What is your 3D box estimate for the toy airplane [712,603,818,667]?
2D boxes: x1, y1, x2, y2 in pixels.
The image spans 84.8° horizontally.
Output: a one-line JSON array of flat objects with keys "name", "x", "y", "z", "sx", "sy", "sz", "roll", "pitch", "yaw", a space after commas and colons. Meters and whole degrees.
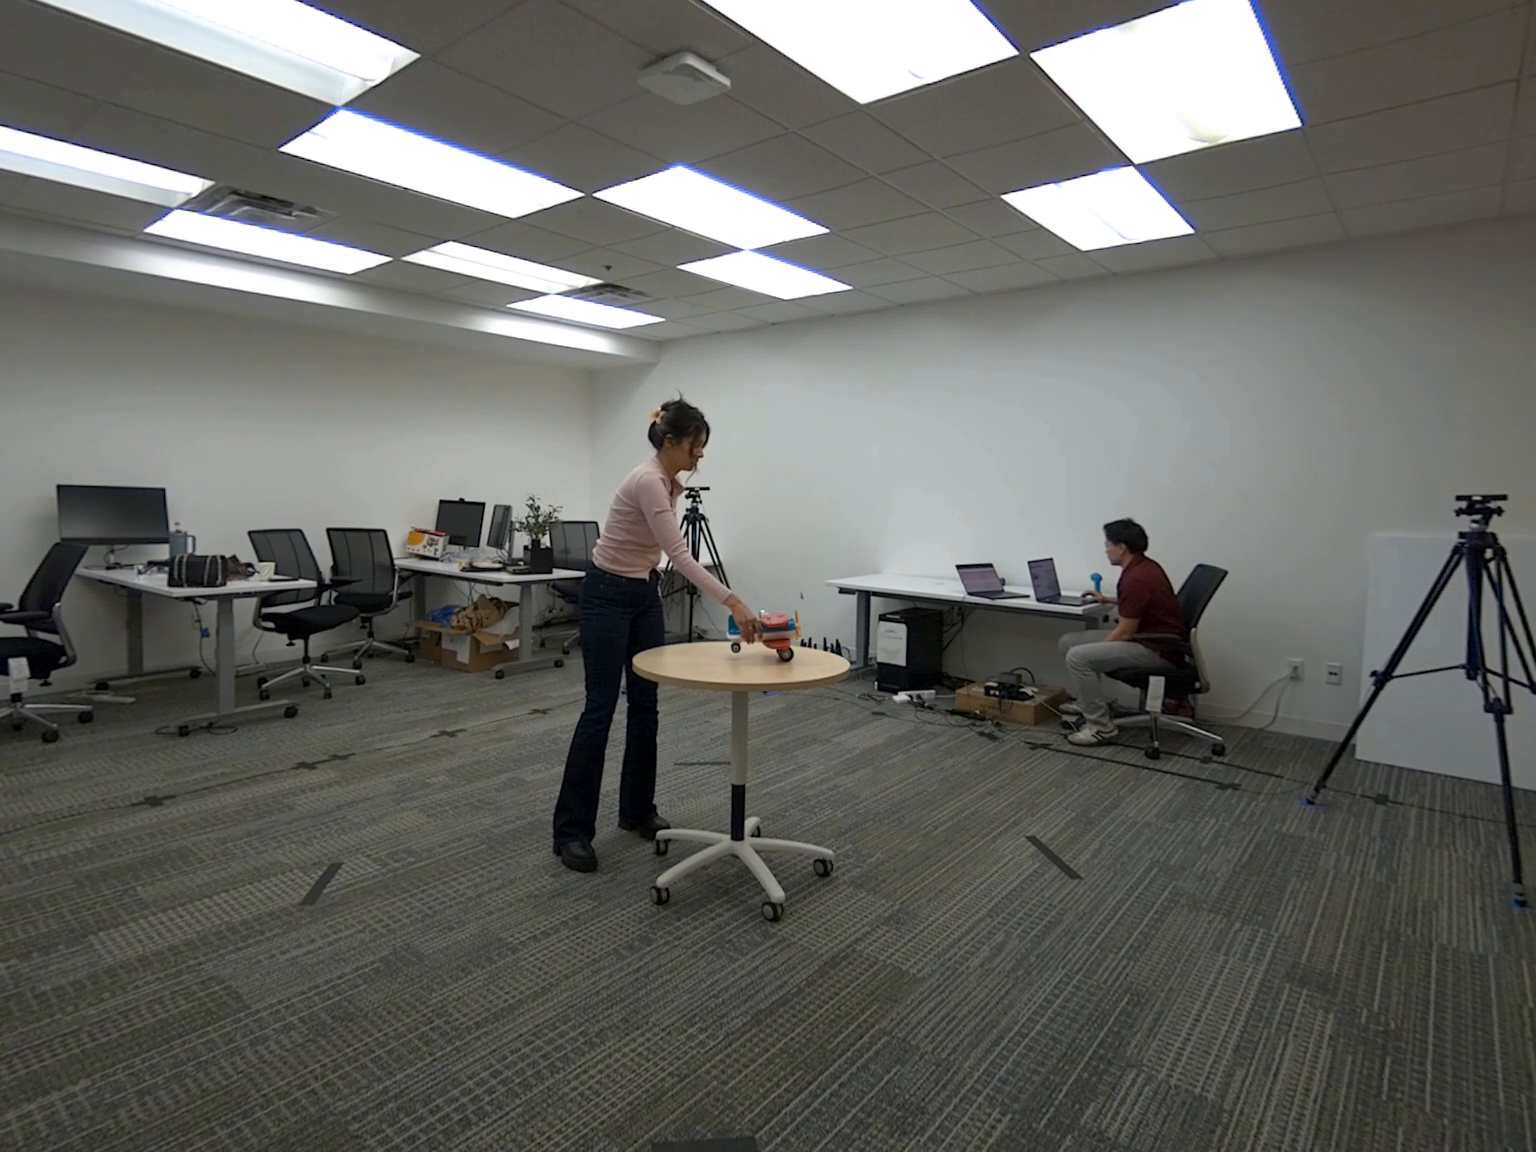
[{"name": "toy airplane", "x": -0.016, "y": 0.208, "z": 3.014, "sx": 0.251, "sy": 0.156, "sz": 0.260, "roll": 8, "pitch": 4, "yaw": -33}]
